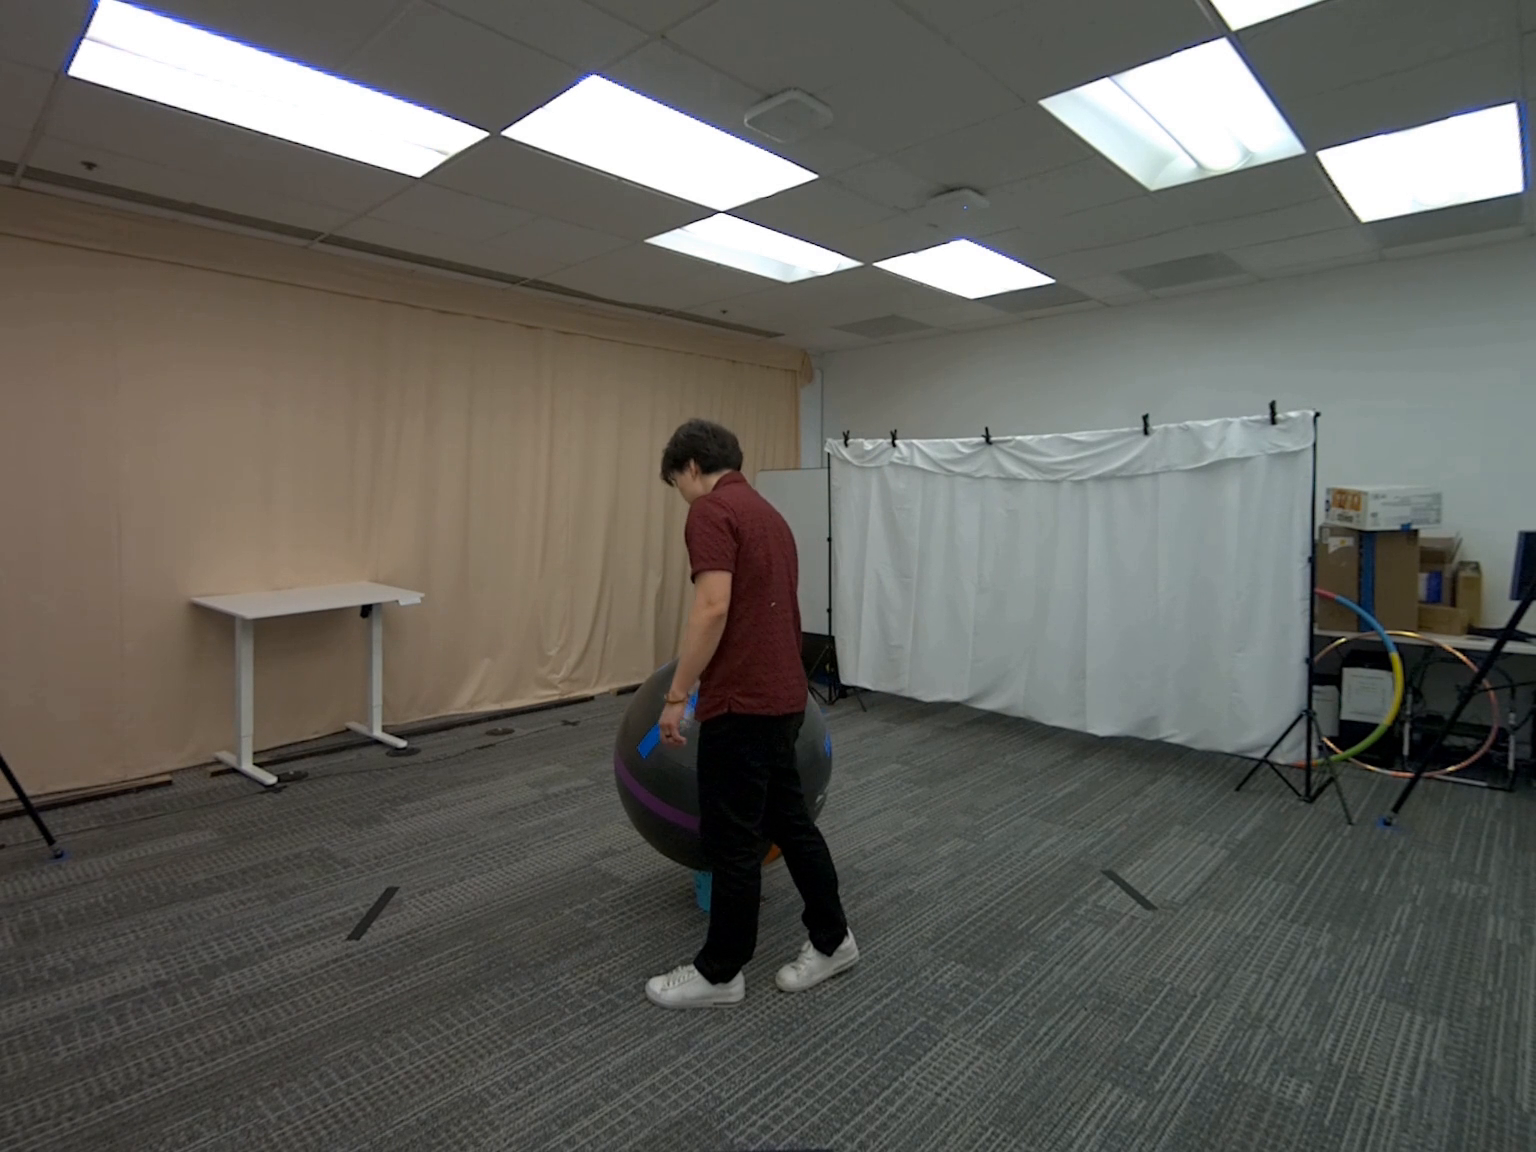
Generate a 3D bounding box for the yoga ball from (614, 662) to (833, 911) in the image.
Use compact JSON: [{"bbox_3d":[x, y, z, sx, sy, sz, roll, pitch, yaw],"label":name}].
[{"bbox_3d":[-0.155,0.637,2.947,0.757,0.756,0.760,0,4,-2],"label":"yoga ball"}]
